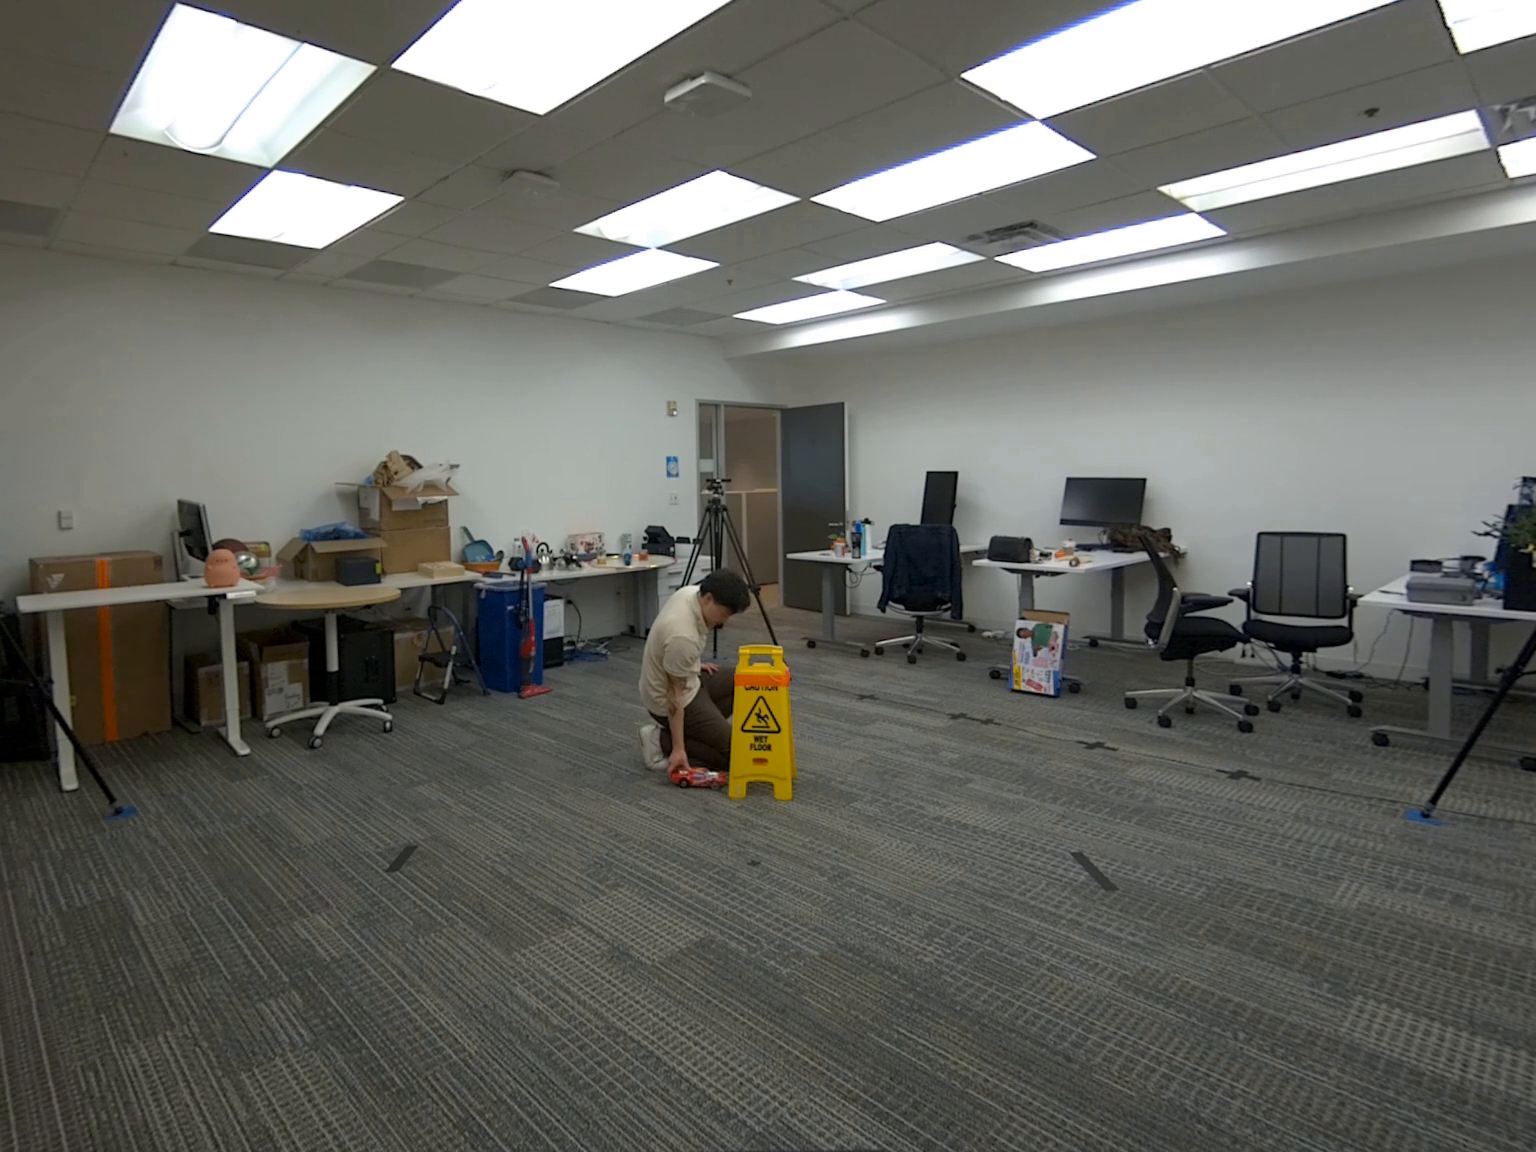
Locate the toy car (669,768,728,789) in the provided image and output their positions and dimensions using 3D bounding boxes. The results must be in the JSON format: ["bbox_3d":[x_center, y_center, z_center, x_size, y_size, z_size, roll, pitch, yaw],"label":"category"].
[{"bbox_3d":[-0.319,0.933,3.921,0.258,0.083,0.129,10,7,10],"label":"toy car"}]
